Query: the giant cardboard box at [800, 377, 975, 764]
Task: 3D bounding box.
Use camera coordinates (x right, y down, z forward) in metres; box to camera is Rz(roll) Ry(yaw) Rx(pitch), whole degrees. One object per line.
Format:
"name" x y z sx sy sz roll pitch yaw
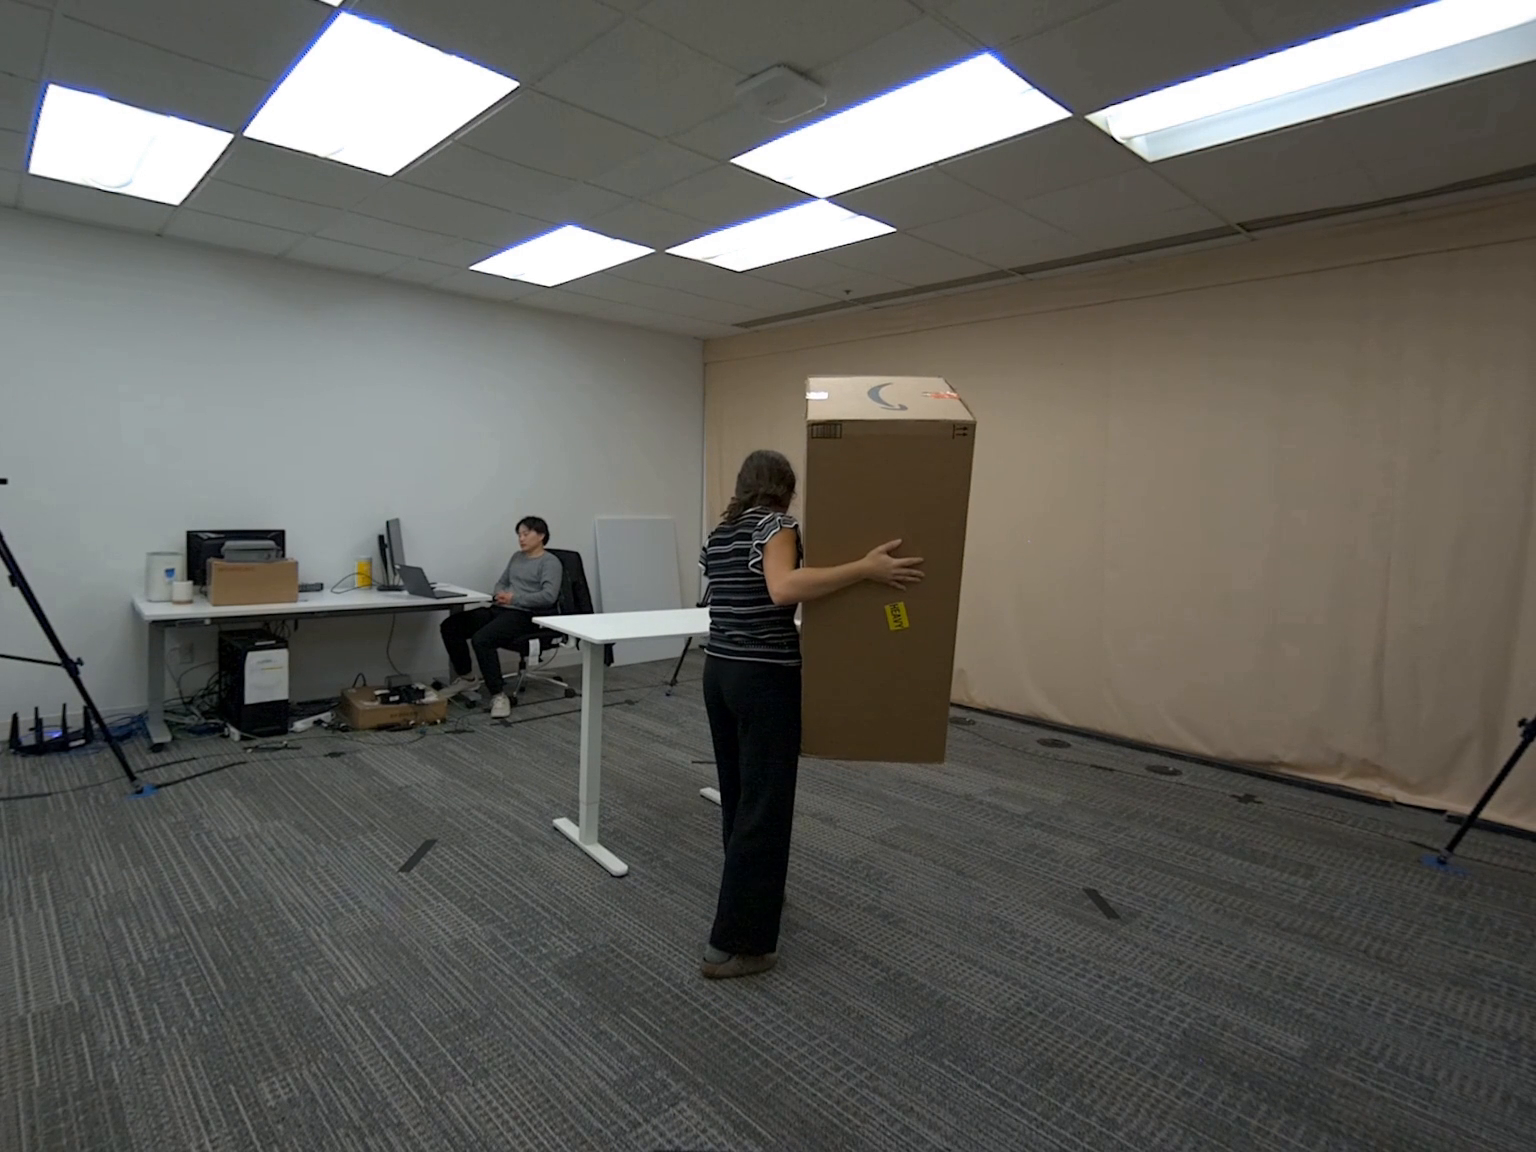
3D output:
"giant cardboard box" 0.316 -0.037 2.540 0.428 1.010 0.584 2 23 5
